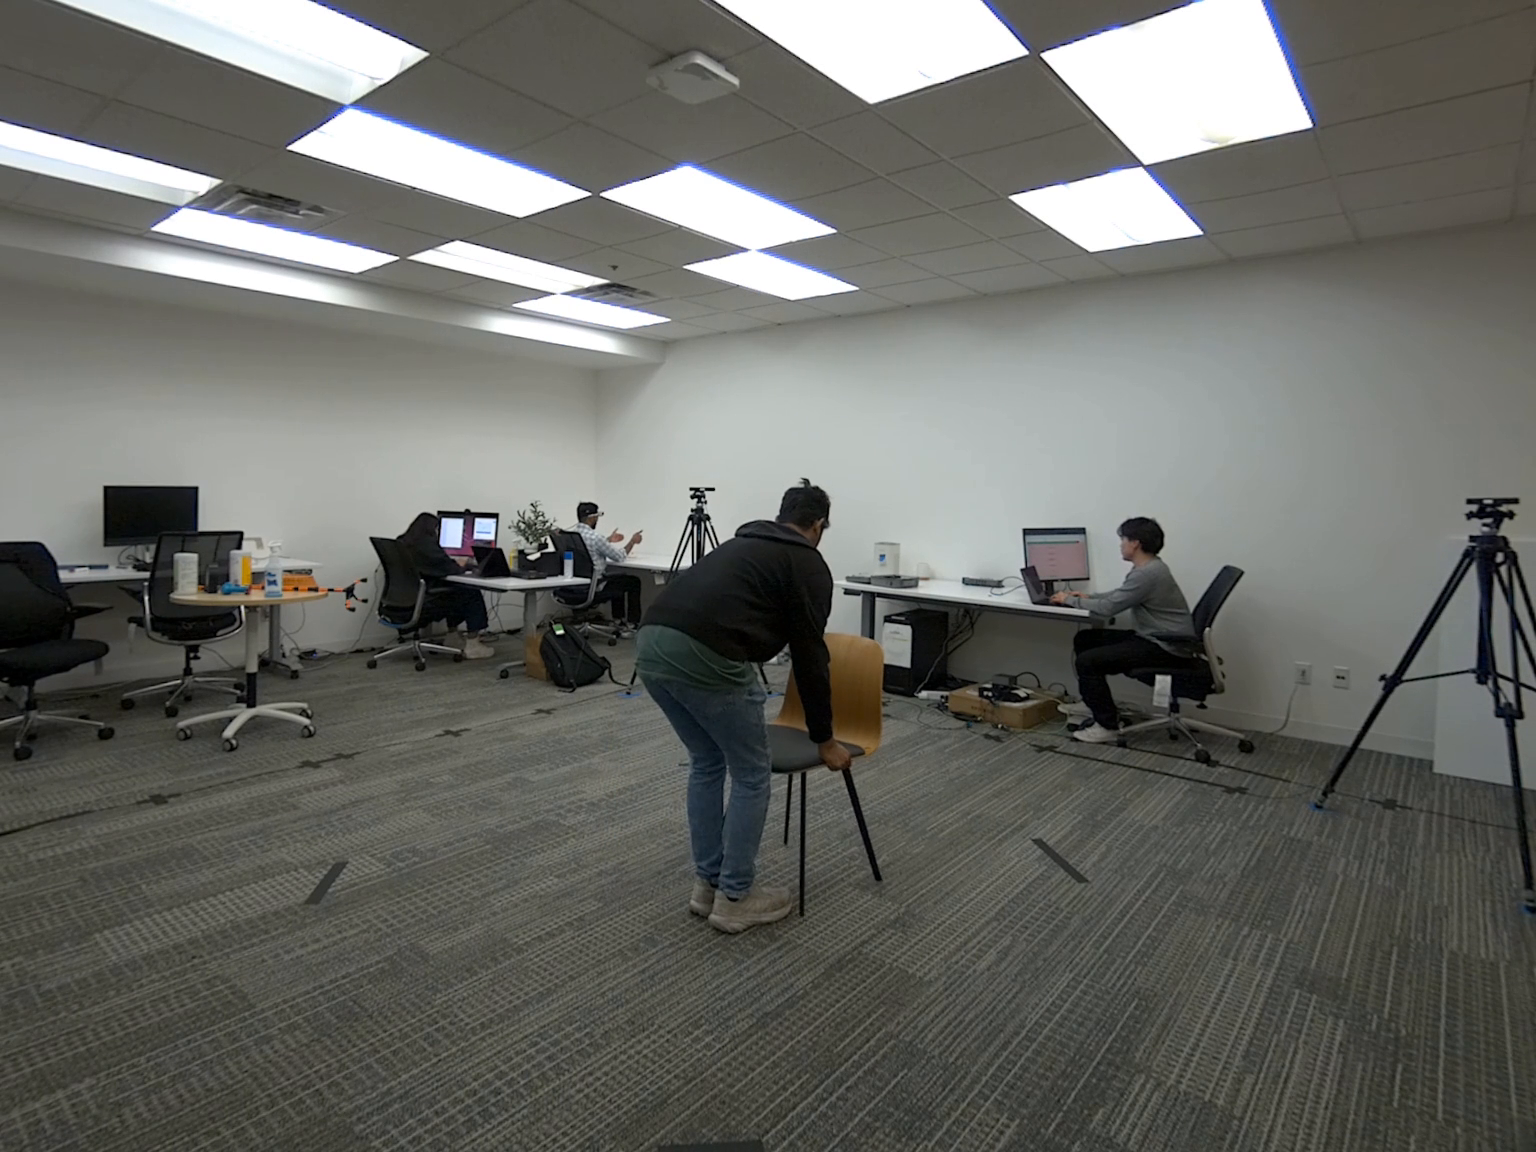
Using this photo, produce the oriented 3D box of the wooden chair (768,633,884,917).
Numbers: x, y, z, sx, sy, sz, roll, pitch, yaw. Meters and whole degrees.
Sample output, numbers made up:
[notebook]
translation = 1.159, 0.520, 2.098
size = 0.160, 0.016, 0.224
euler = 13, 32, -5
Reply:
[wooden chair]
translation = 0.098, 0.625, 3.004
size = 0.494, 0.879, 0.504
euler = 5, -3, 43
